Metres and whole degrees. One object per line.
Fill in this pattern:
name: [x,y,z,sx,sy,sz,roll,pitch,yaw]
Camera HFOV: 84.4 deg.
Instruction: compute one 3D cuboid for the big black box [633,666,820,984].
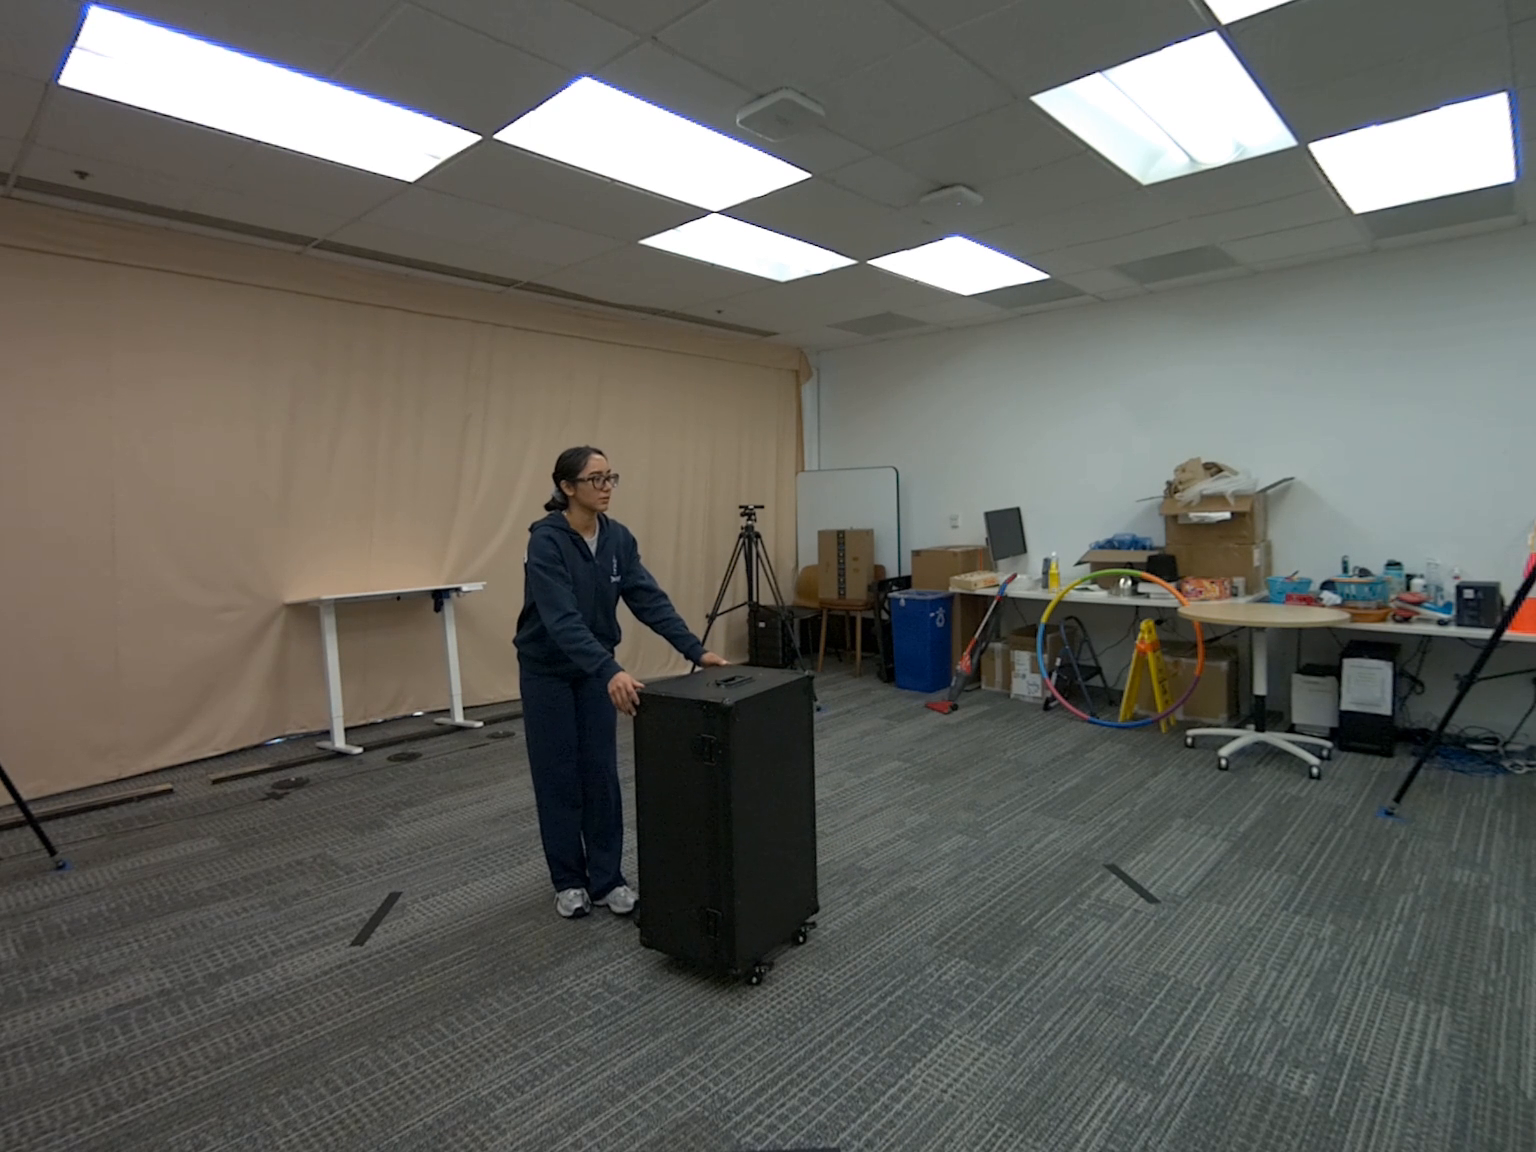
big black box: [-0.127,0.754,2.620,0.408,0.860,0.506,-1,3,34]
